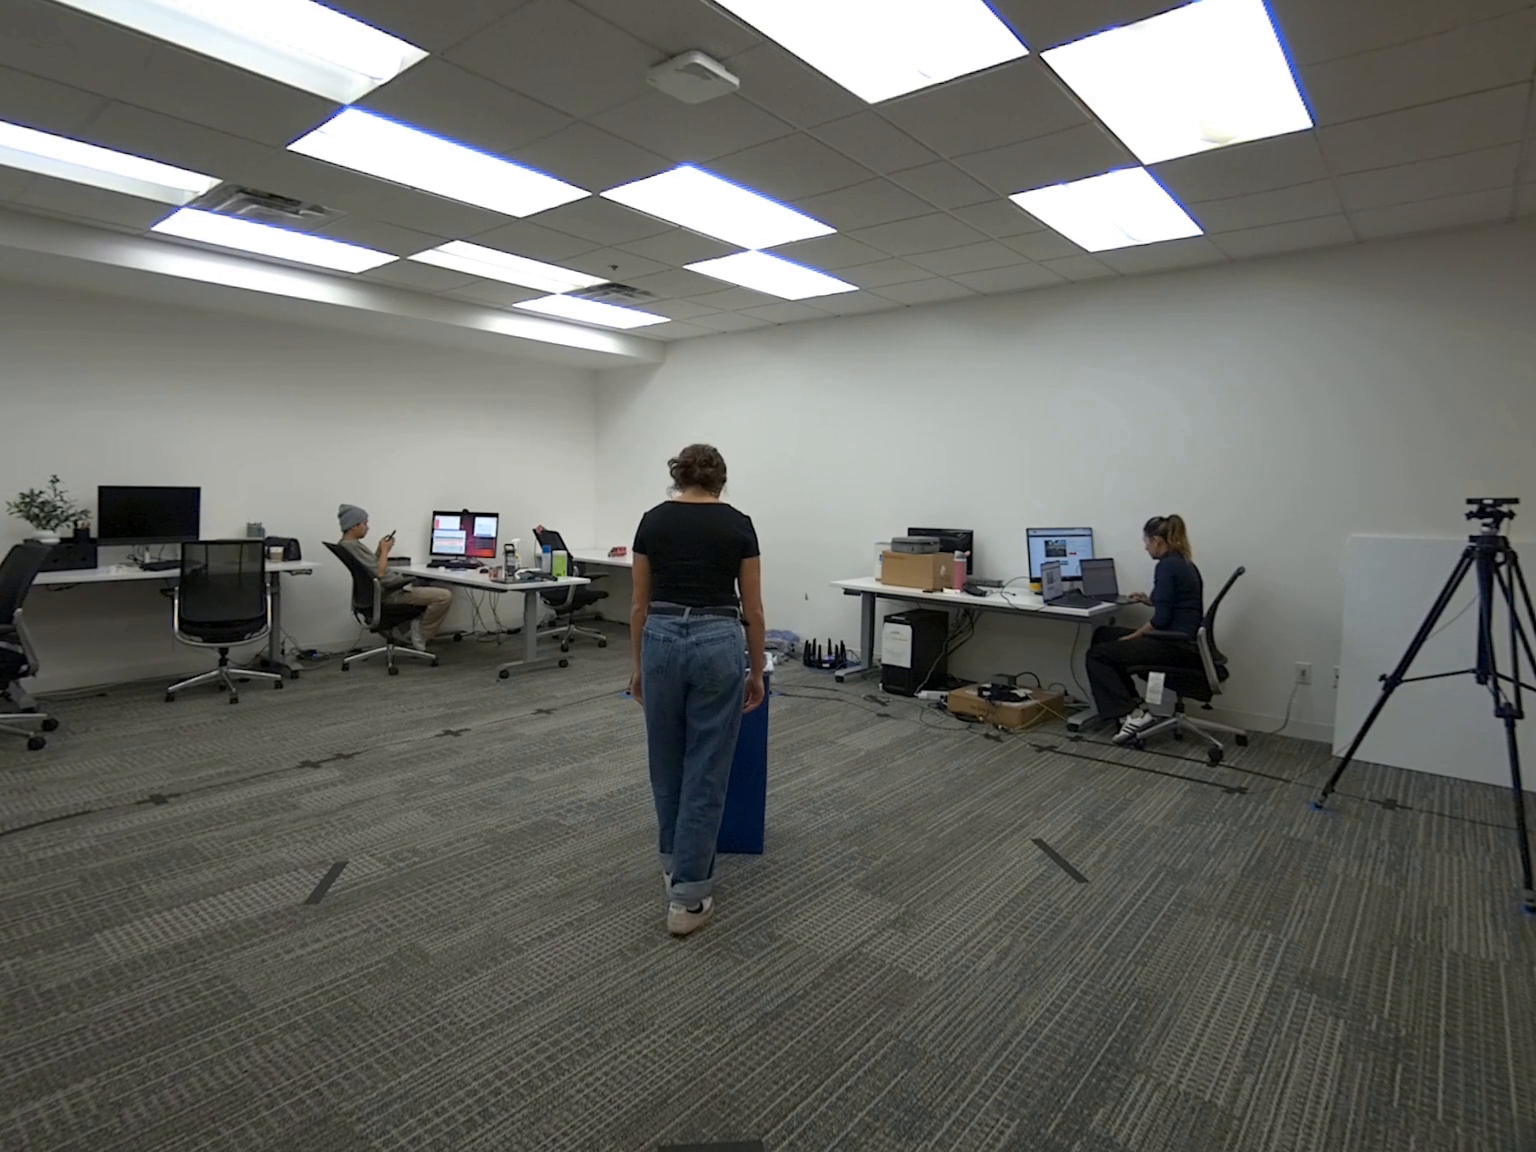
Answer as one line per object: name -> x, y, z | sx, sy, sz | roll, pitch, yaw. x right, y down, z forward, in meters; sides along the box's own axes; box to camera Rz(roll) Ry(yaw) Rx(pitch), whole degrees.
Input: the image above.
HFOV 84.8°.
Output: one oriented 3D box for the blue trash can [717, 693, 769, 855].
blue trash can -> -0.182, 0.681, 3.368 | 0.375, 0.712, 0.378 | 1, 3, 1
